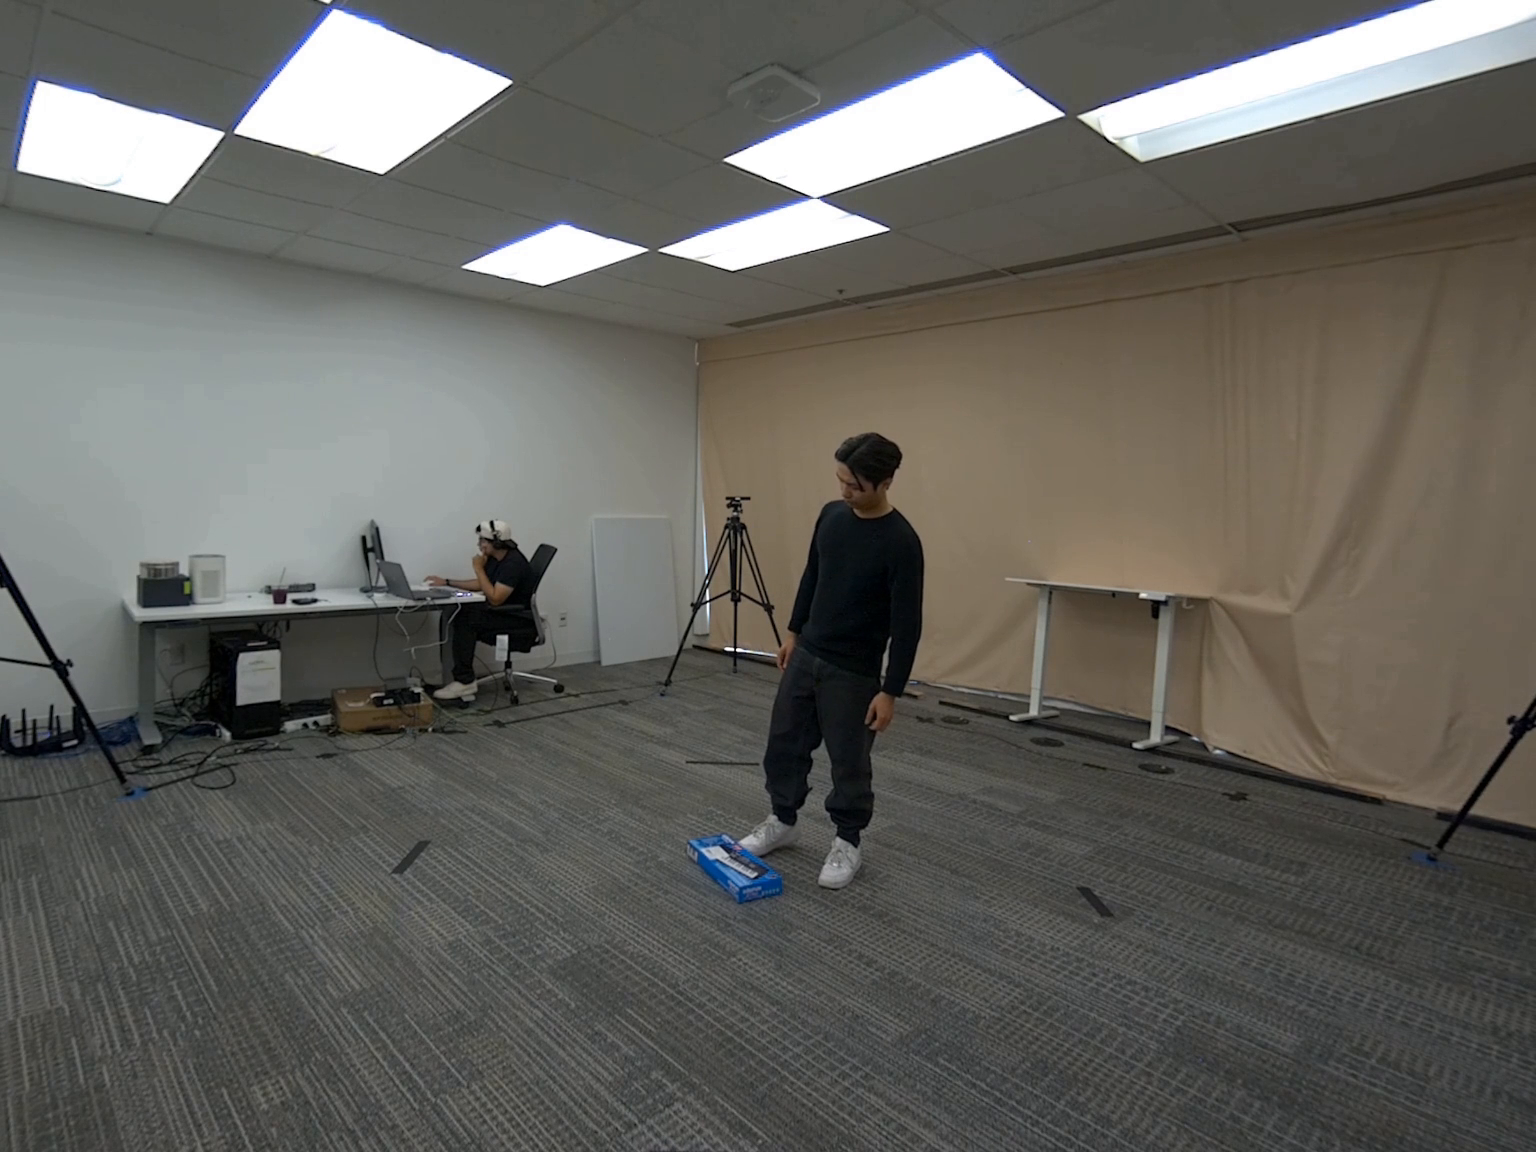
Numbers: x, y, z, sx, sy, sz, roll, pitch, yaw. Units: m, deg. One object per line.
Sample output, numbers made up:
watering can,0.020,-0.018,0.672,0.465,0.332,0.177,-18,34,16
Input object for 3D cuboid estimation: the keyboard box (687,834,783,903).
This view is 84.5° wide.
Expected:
keyboard box,-0.141,1.076,3.114,0.172,0.059,0.447,-2,6,-30
